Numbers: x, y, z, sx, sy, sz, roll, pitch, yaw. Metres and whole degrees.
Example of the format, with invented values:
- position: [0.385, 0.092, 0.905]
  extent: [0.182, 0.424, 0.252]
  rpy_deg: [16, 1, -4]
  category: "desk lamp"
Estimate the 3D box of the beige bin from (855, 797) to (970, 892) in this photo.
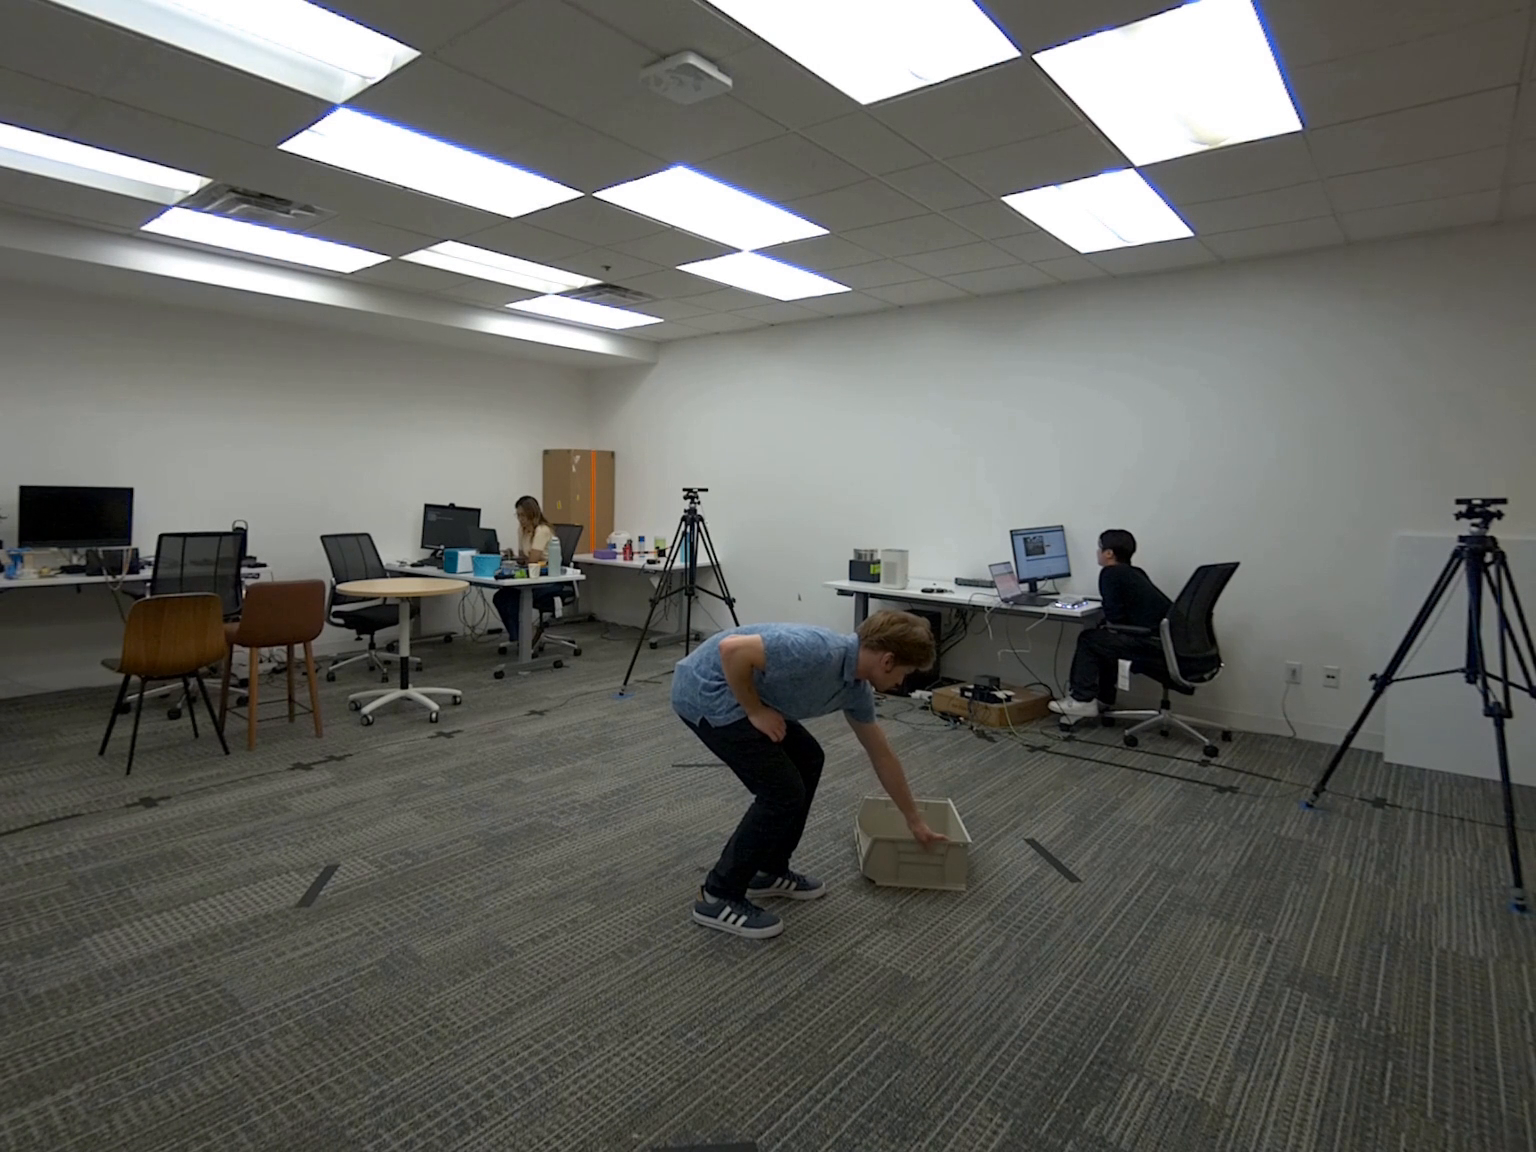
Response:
- position: [0.523, 0.988, 3.201]
  extent: [0.379, 0.188, 0.422]
  rpy_deg: [2, 5, 3]
  category: "beige bin"
